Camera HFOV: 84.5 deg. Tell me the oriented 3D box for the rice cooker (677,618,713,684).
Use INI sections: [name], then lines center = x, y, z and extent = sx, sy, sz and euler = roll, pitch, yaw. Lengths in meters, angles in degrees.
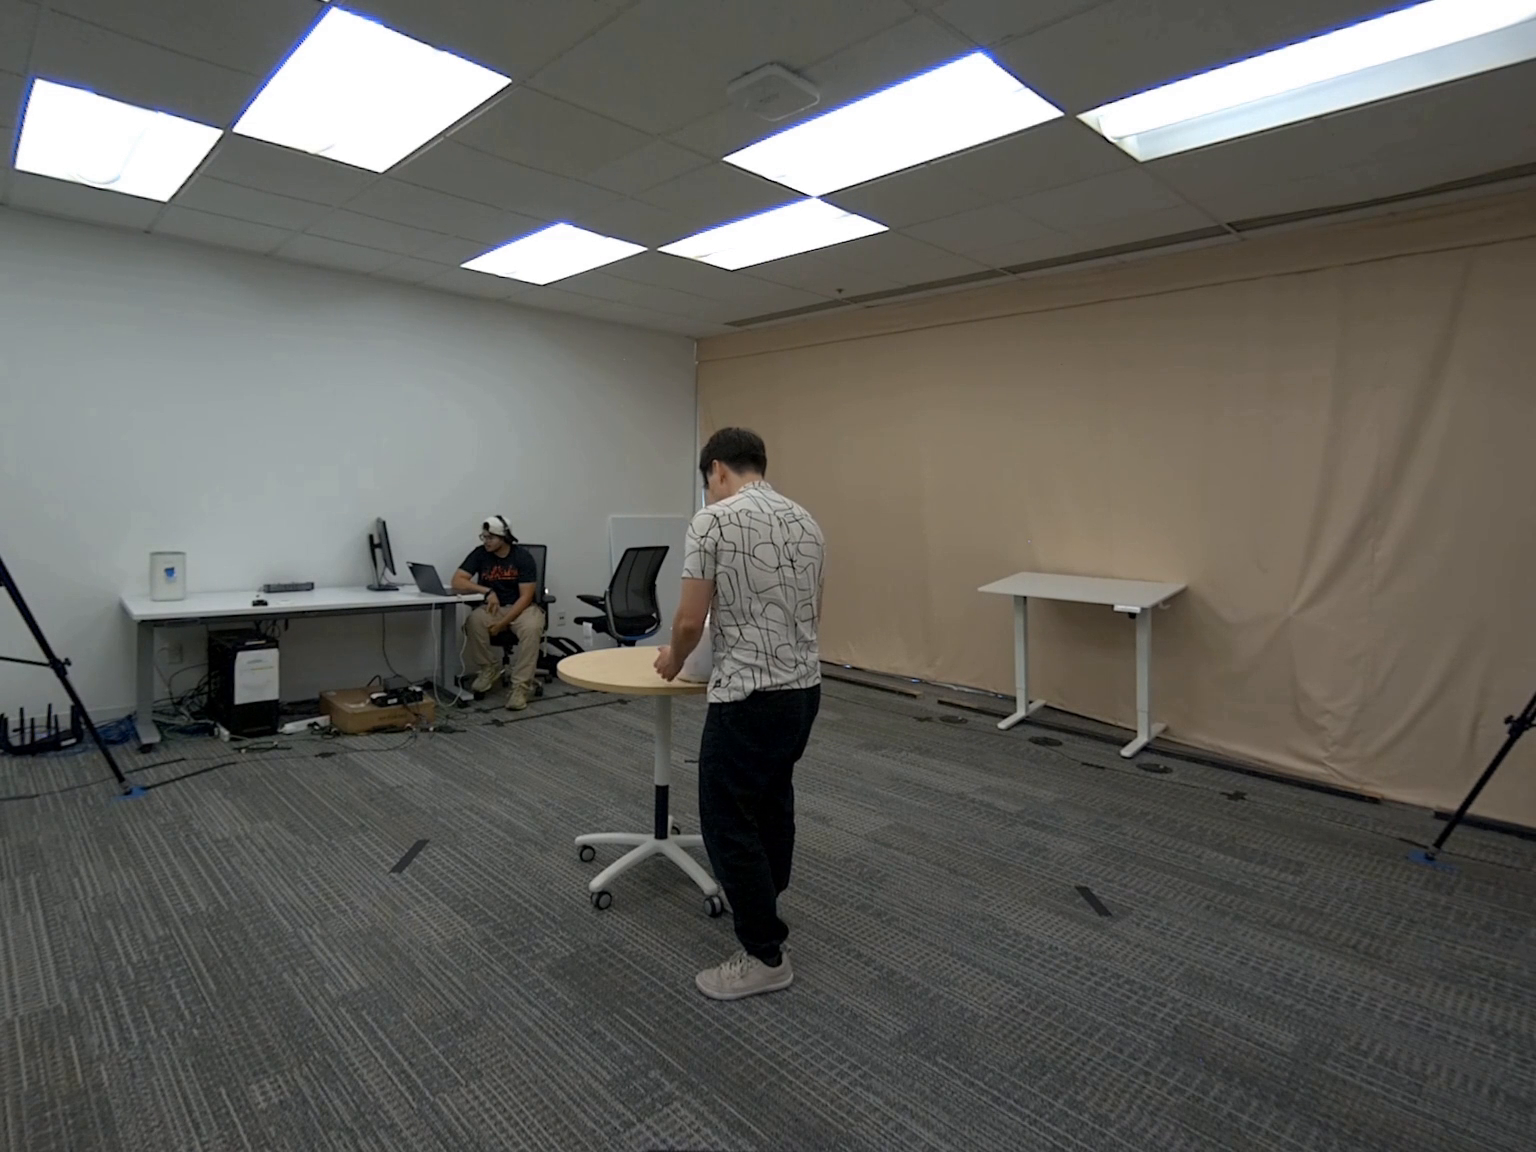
[rice cooker]
center = -0.216, 0.230, 2.817
extent = 0.216, 0.232, 0.223
euler = -2, 4, -36
